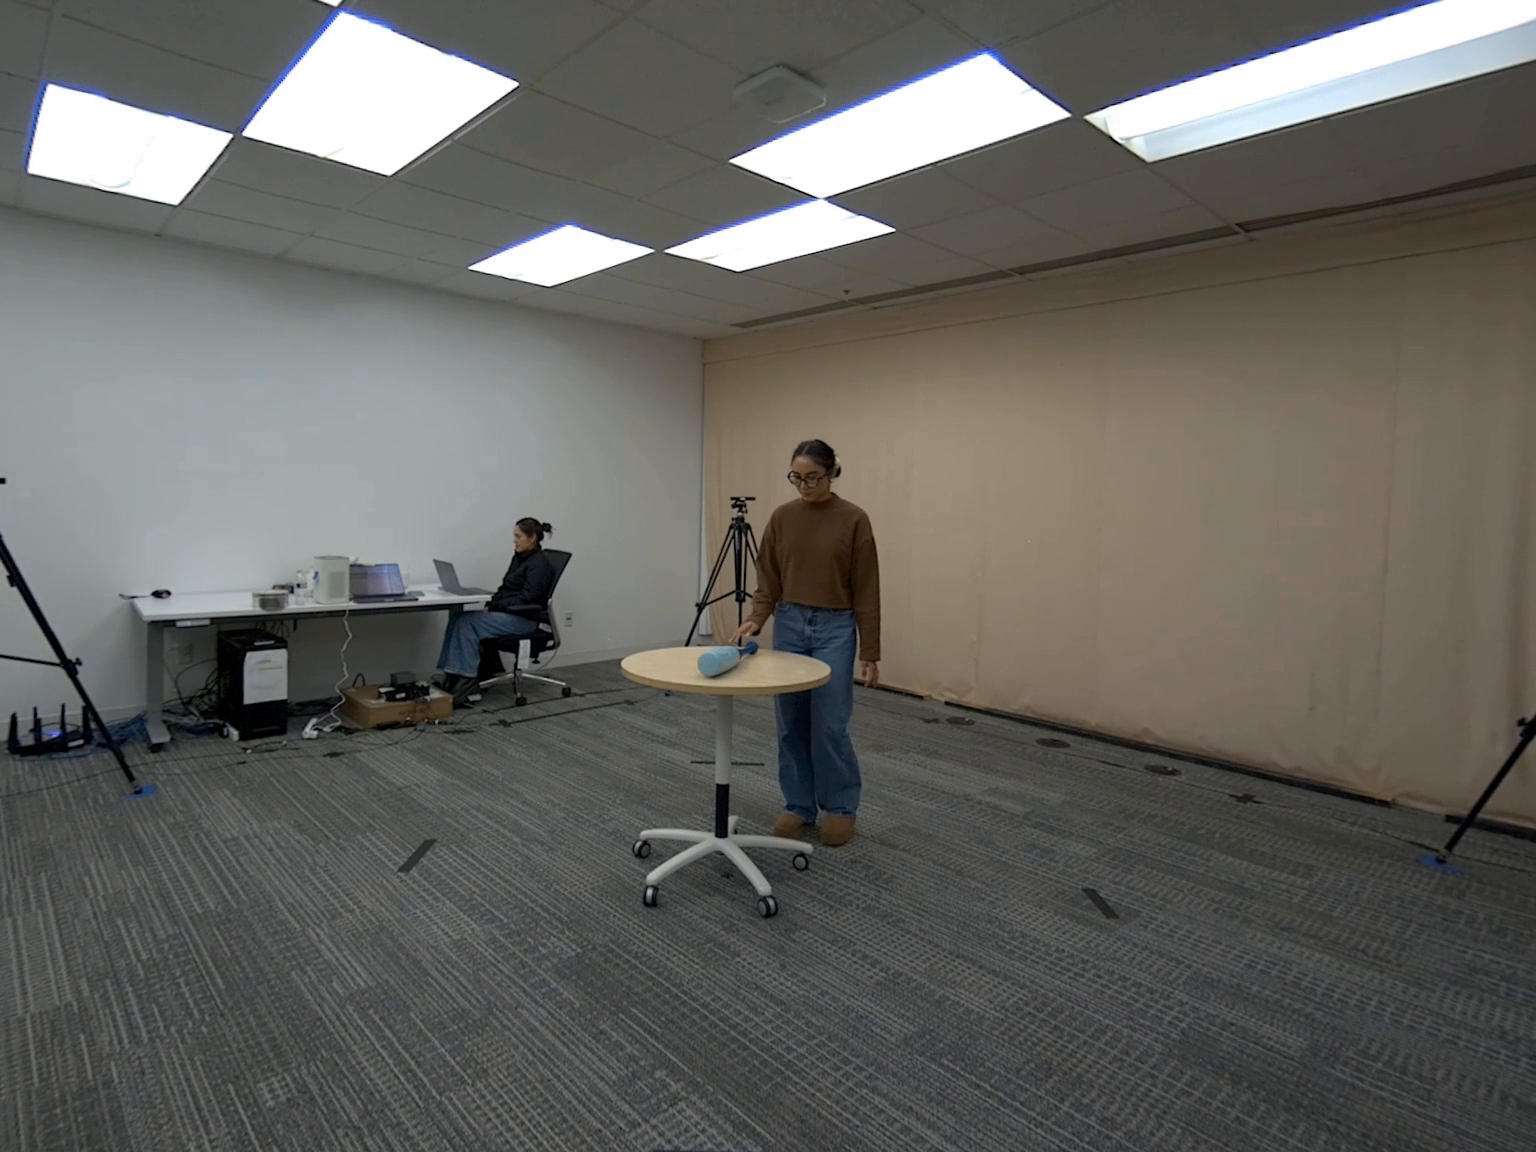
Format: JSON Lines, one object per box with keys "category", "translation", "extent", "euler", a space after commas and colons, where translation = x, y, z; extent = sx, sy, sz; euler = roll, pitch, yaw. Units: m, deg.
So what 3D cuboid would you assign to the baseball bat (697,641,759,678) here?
{"category": "baseball bat", "translation": [-0.134, 0.293, 3.062], "extent": [0.090, 0.089, 0.536], "euler": [3, 1, 15]}
